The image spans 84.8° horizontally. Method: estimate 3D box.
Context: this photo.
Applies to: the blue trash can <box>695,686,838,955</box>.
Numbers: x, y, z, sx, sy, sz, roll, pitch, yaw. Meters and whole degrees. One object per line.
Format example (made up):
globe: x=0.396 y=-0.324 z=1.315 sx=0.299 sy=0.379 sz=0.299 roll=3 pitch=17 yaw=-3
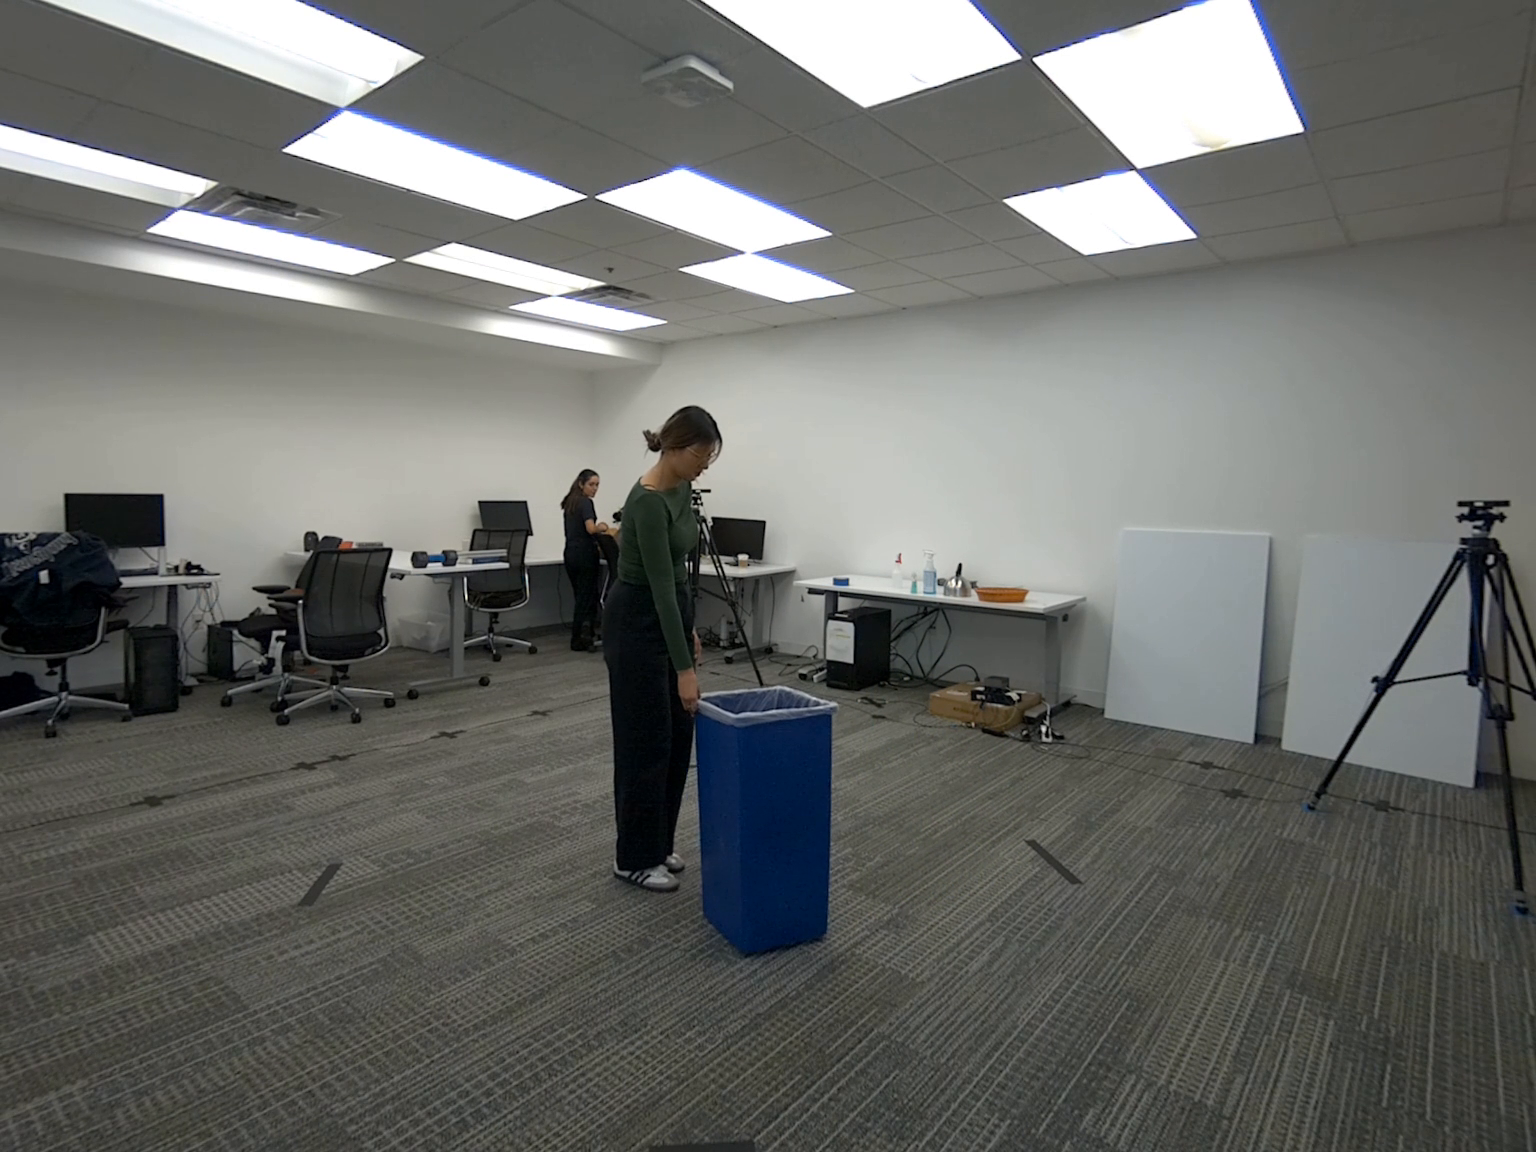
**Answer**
blue trash can: x=-0.015 y=0.752 z=2.710 sx=0.368 sy=0.714 sz=0.384 roll=-1 pitch=0 yaw=-28
